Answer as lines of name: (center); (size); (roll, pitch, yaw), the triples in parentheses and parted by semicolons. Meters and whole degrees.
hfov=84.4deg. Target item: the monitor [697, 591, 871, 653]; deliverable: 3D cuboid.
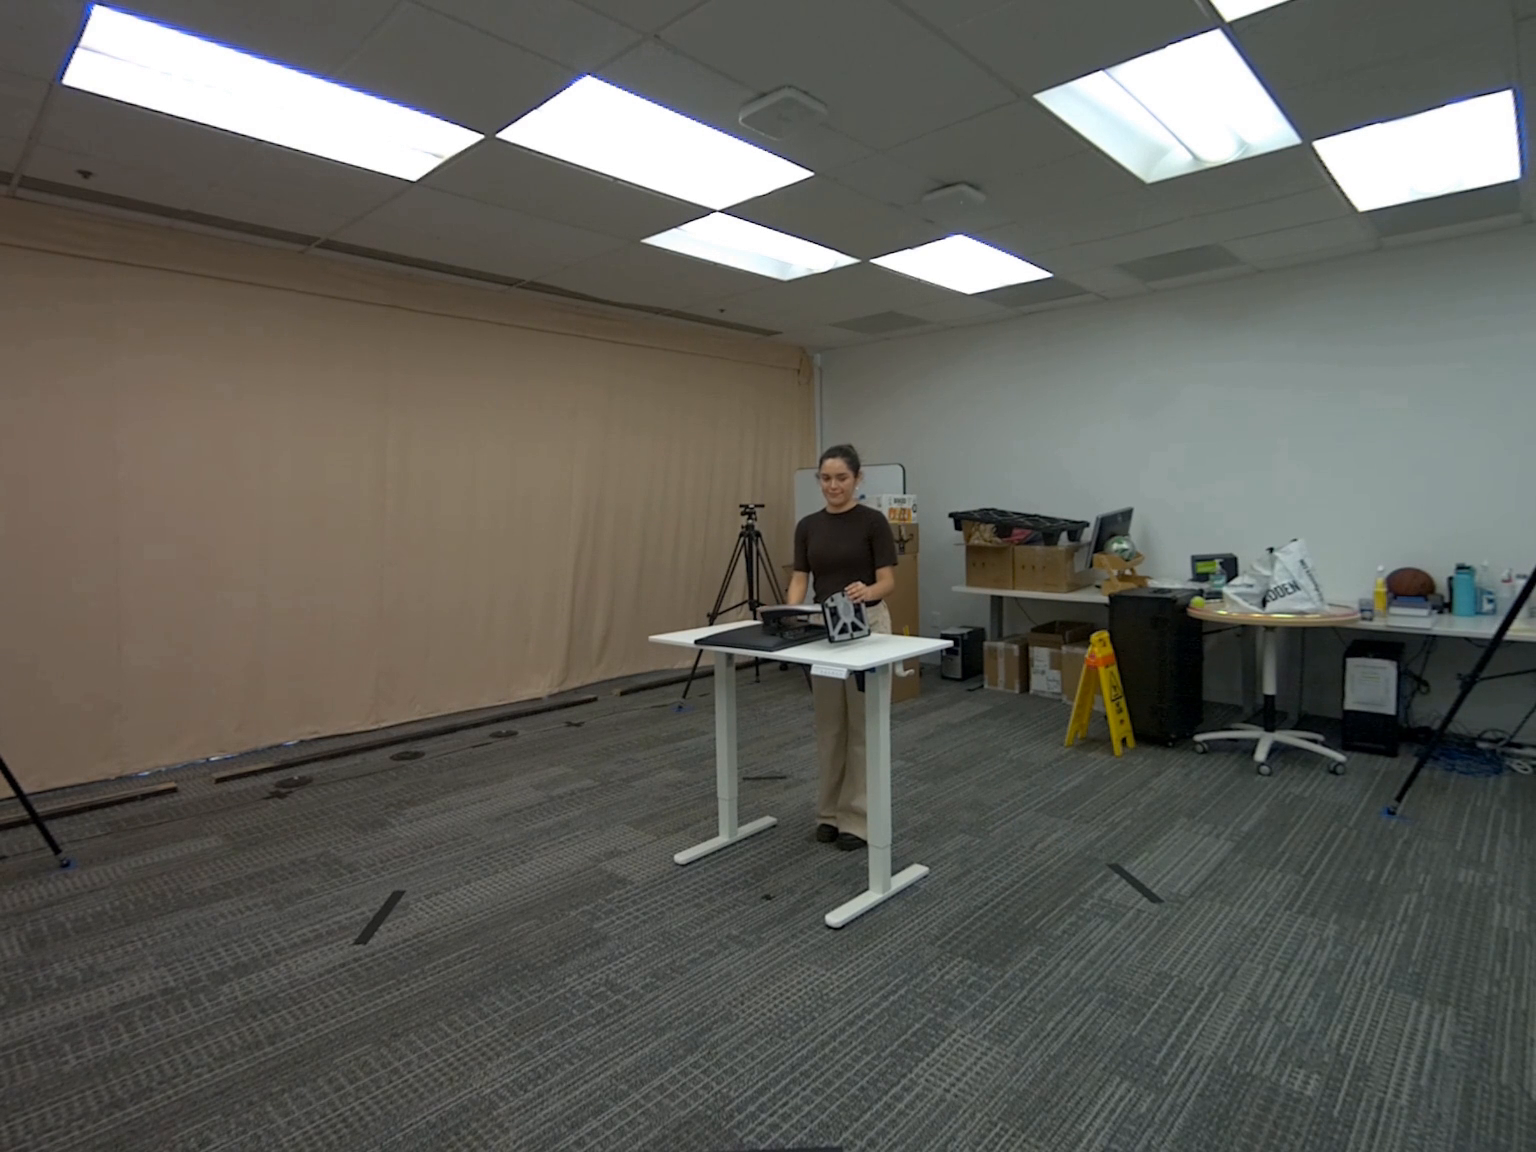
monitor: (0.083, 0.189, 3.151); (0.536, 0.188, 0.522); (-12, -6, 39)
